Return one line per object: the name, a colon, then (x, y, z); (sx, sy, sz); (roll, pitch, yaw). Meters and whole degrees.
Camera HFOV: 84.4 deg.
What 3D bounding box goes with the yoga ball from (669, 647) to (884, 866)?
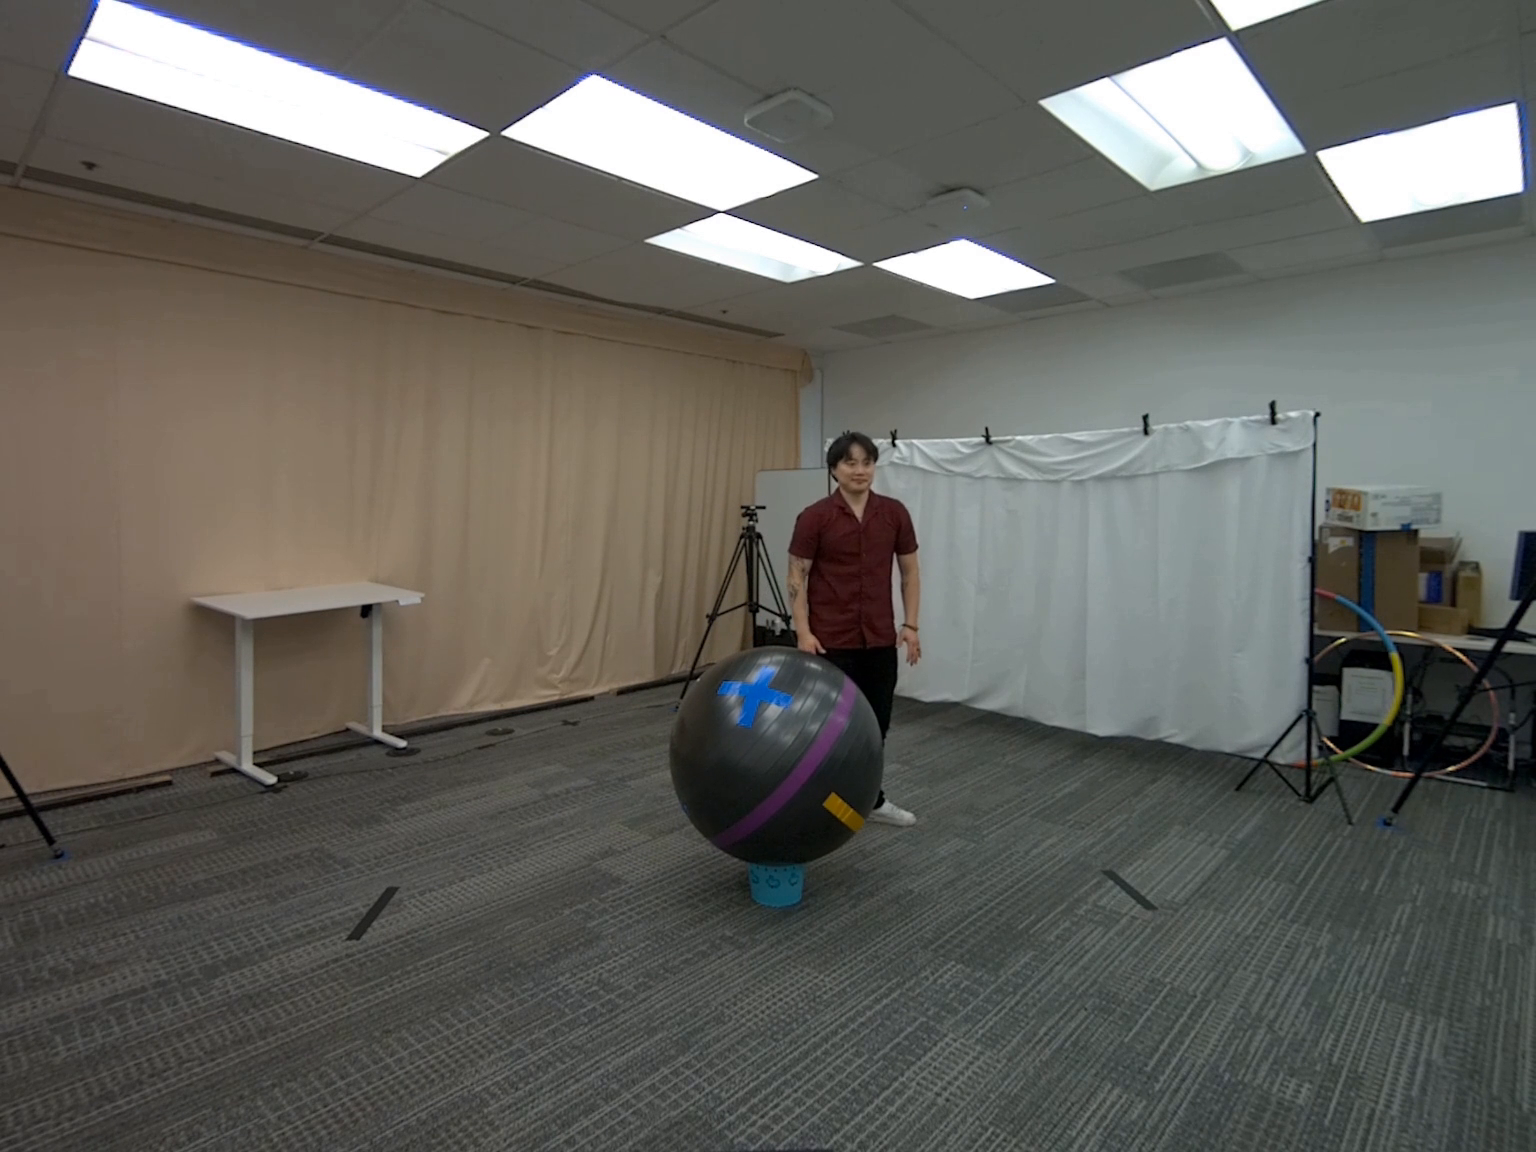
yoga ball: (0.021, 0.634, 2.994); (0.757, 0.756, 0.760); (0, 4, -2)
